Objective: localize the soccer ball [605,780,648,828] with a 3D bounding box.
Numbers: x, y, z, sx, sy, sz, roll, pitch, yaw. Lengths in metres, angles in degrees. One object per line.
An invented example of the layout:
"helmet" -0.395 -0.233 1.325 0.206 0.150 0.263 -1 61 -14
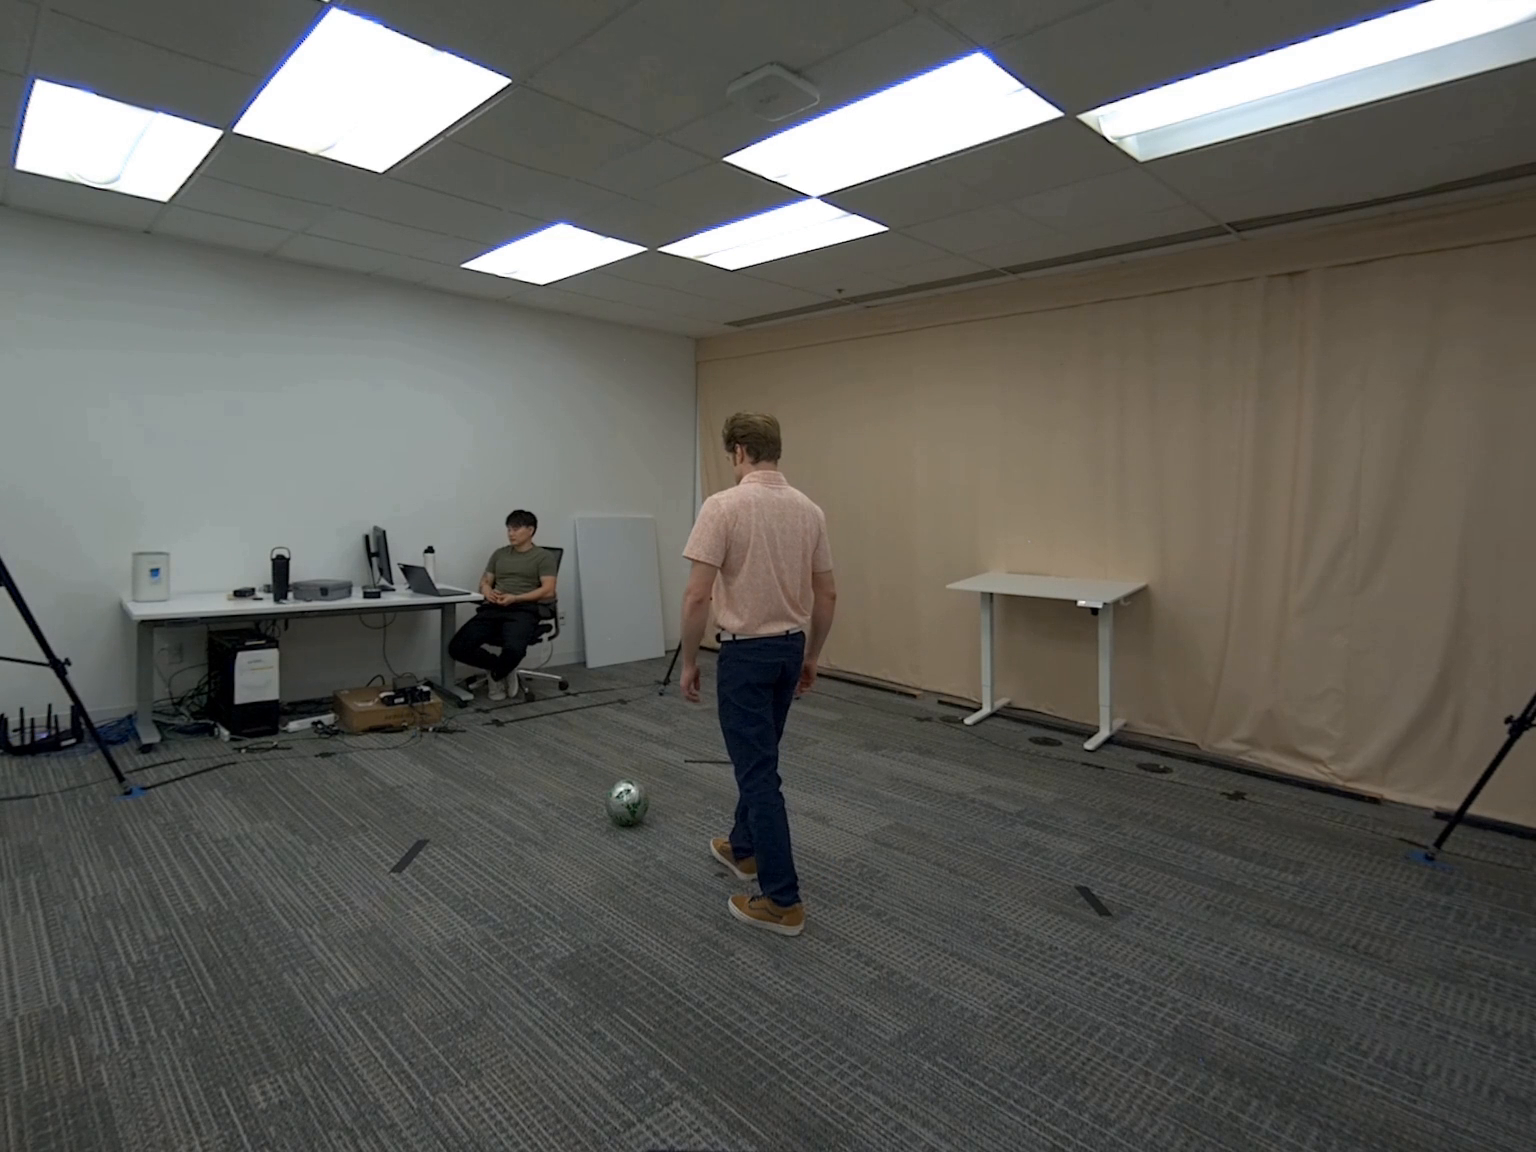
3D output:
"soccer ball" -0.604 0.959 3.566 0.187 0.187 0.188 1 4 -1
